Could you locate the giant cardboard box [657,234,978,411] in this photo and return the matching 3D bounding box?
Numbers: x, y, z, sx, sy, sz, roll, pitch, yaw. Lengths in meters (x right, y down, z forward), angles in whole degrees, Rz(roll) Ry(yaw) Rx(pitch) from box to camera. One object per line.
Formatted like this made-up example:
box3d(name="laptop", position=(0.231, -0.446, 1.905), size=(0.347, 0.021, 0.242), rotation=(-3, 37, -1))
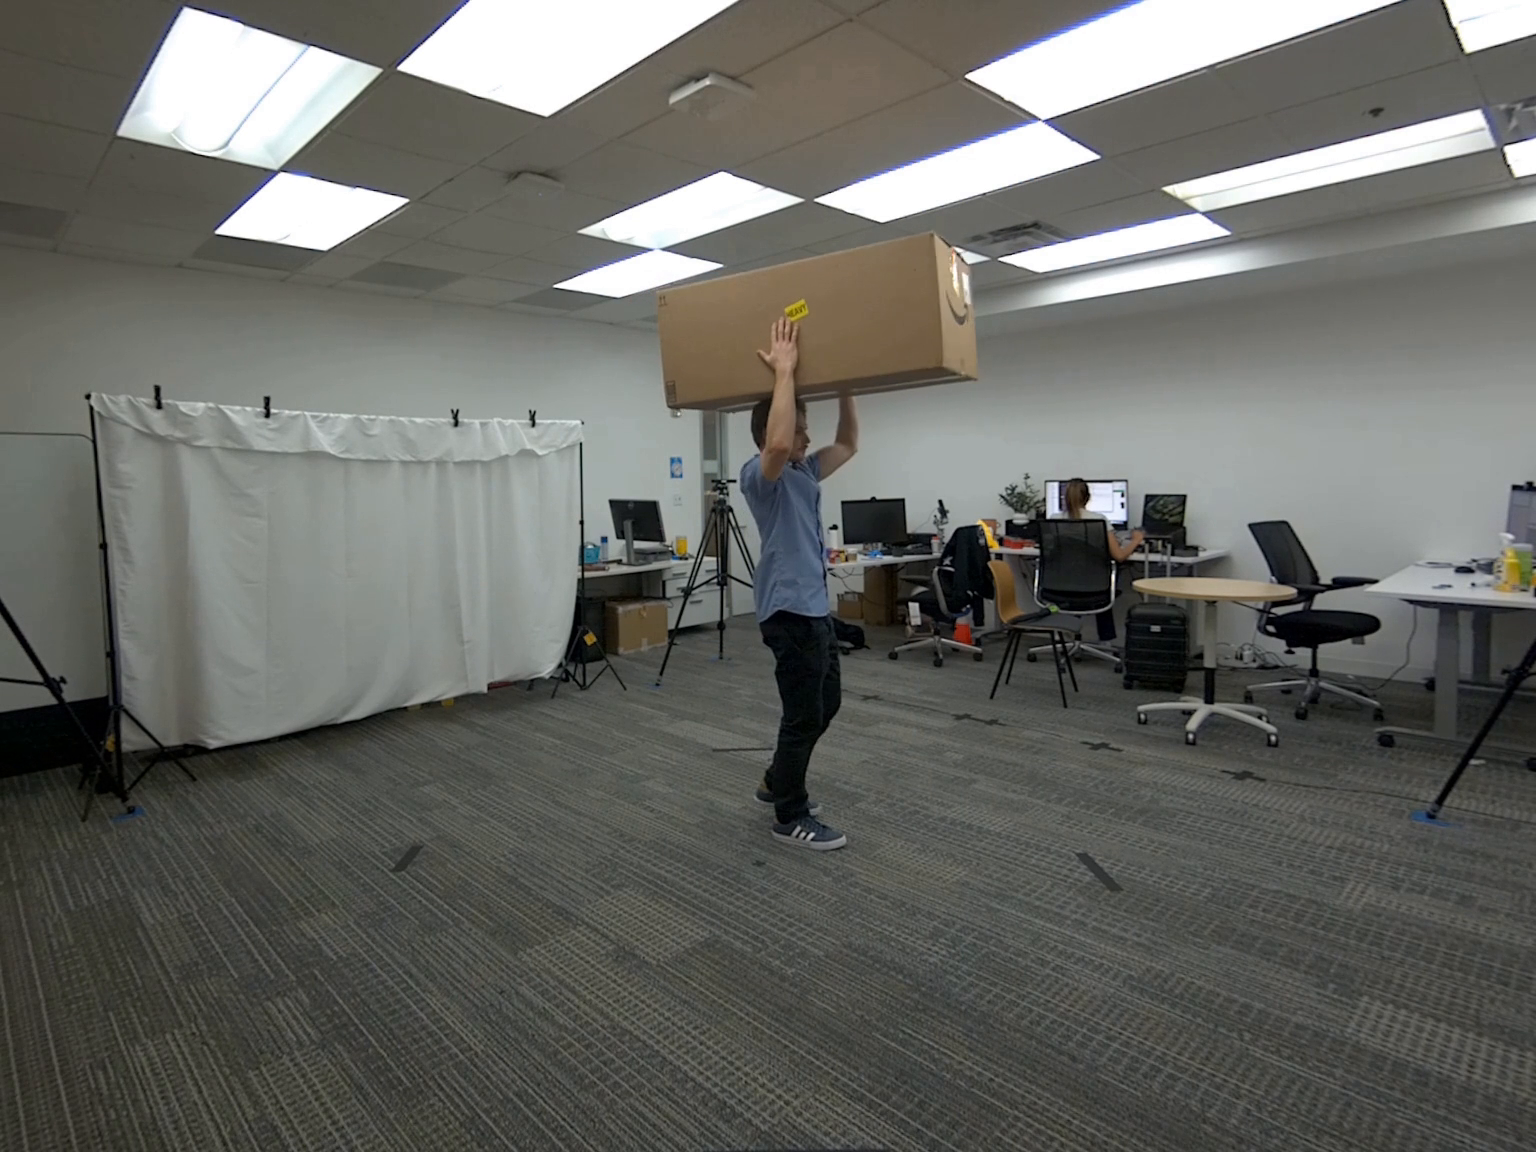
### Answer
box3d(name="giant cardboard box", position=(0.183, -0.884, 3.142), size=(1.049, 0.424, 0.567), rotation=(-2, 7, 27))
